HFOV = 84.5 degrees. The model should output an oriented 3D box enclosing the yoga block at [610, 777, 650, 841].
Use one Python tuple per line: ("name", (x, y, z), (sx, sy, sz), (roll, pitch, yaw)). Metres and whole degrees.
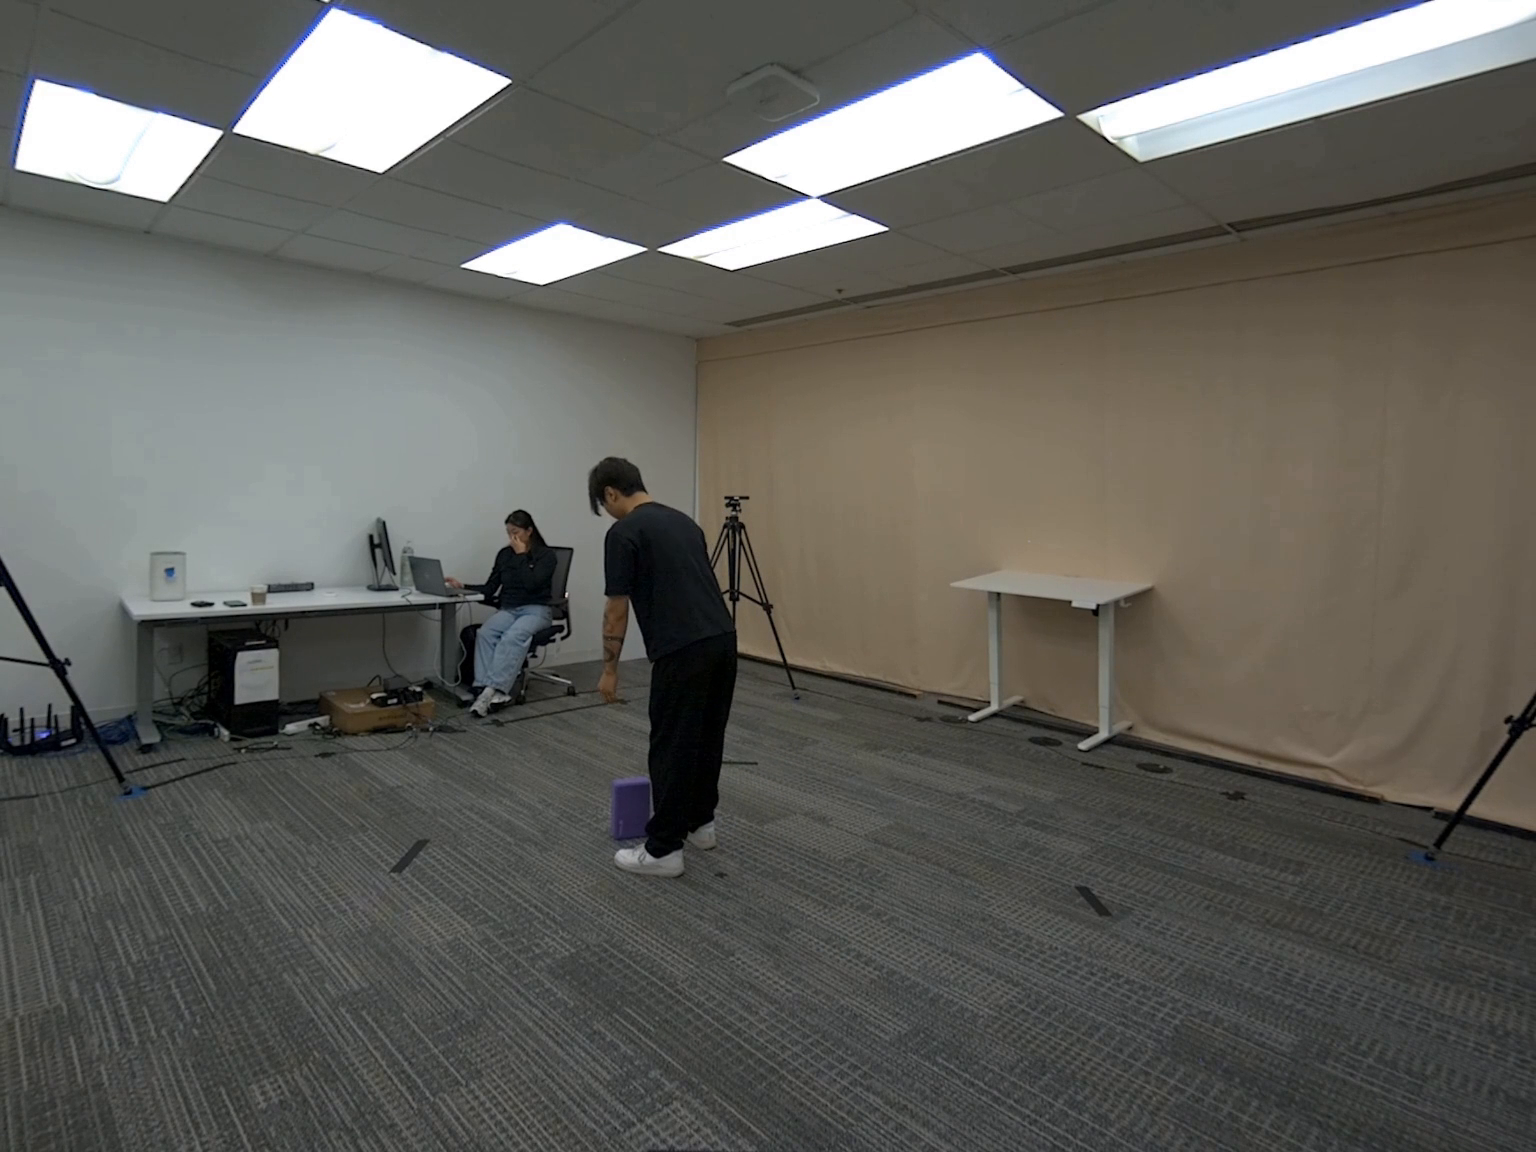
("yoga block", (-0.561, 0.940, 3.437), (0.146, 0.228, 0.078), (-1, 6, -22))
